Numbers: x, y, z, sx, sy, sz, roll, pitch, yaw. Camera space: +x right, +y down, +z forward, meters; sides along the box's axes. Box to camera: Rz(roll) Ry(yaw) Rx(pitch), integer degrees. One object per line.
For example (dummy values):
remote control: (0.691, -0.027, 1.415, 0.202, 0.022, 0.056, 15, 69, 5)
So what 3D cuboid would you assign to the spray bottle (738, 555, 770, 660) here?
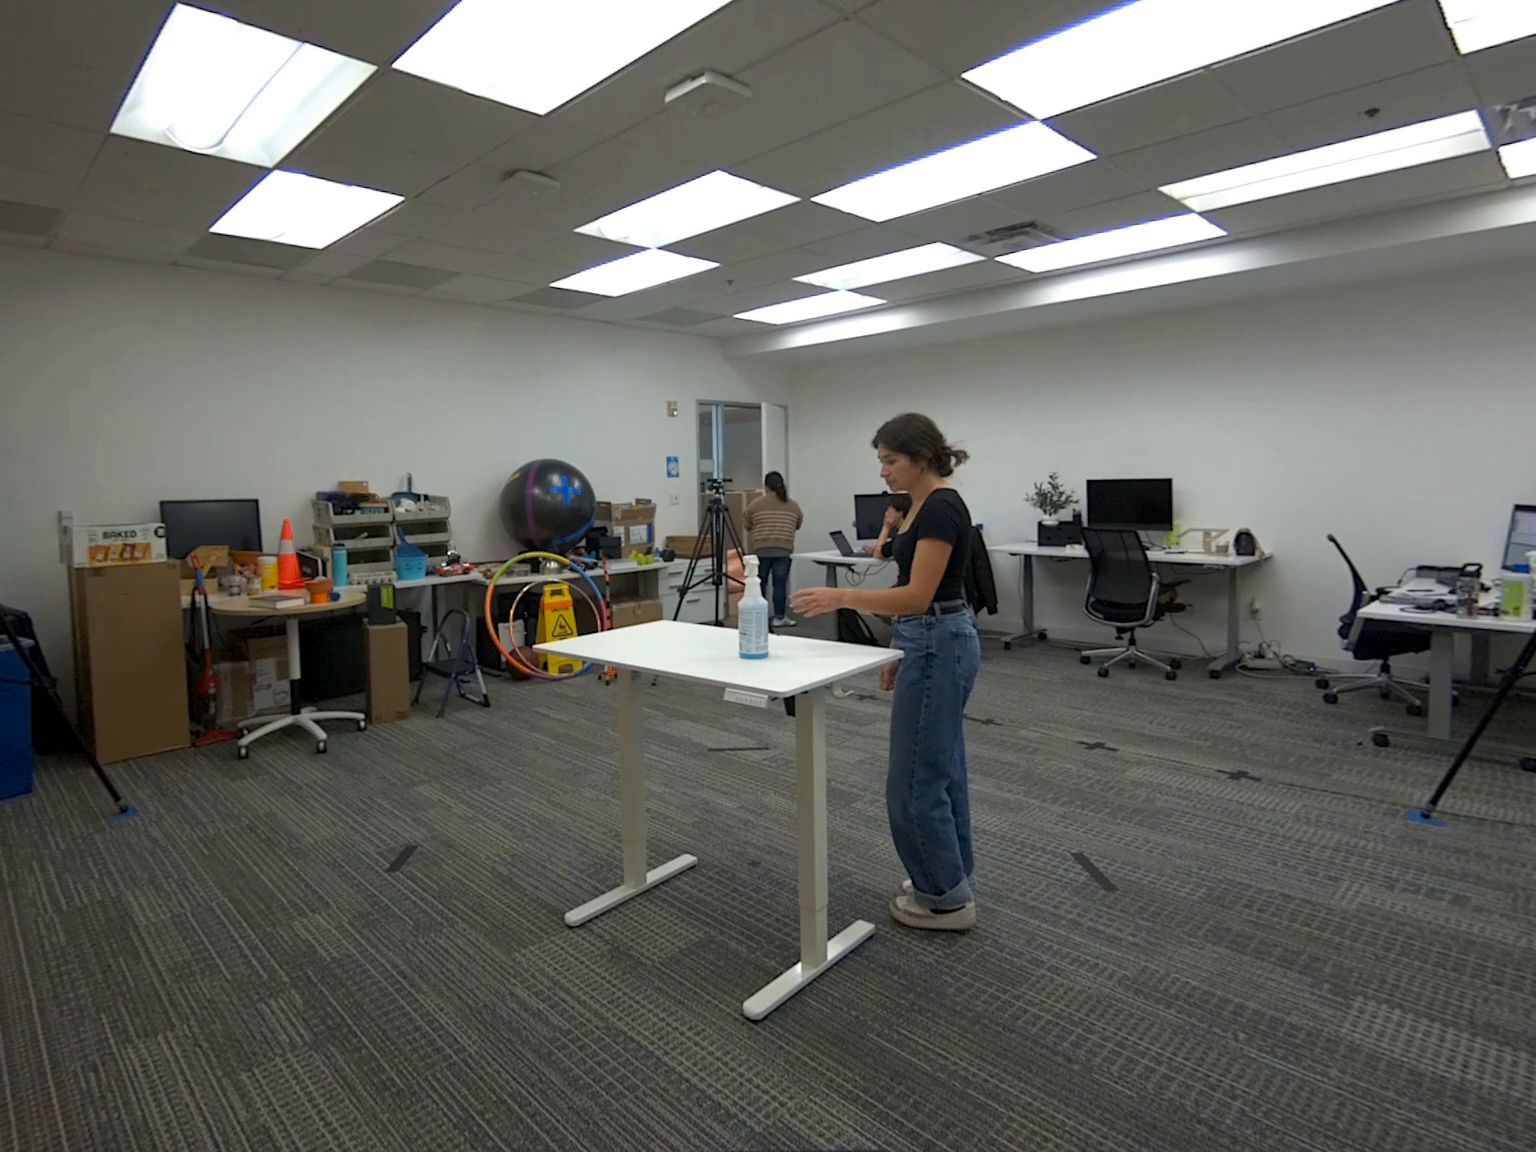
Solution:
spray bottle: (-0.034, 0.091, 2.461, 0.087, 0.297, 0.089, -4, 3, -42)
